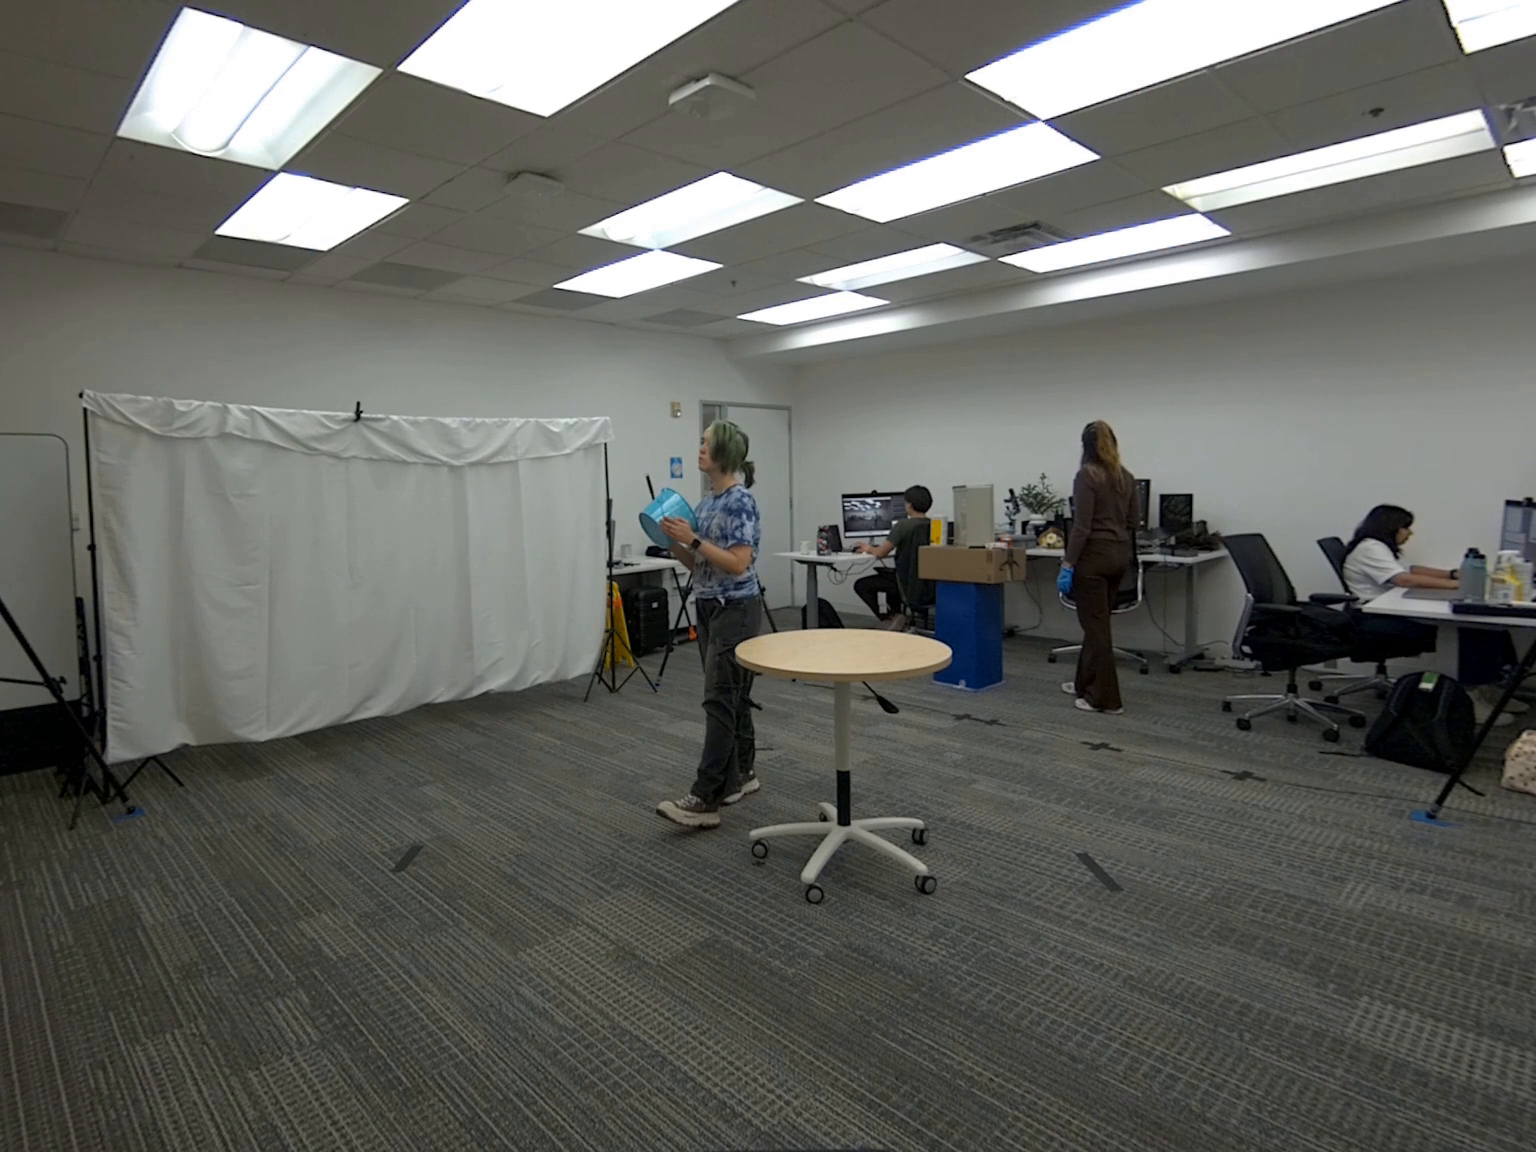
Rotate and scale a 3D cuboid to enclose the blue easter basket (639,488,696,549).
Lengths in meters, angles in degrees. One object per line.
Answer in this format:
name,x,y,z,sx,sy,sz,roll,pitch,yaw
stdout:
blue easter basket,-0.420,-0.237,3.568,0.155,0.238,0.250,-38,22,-24
